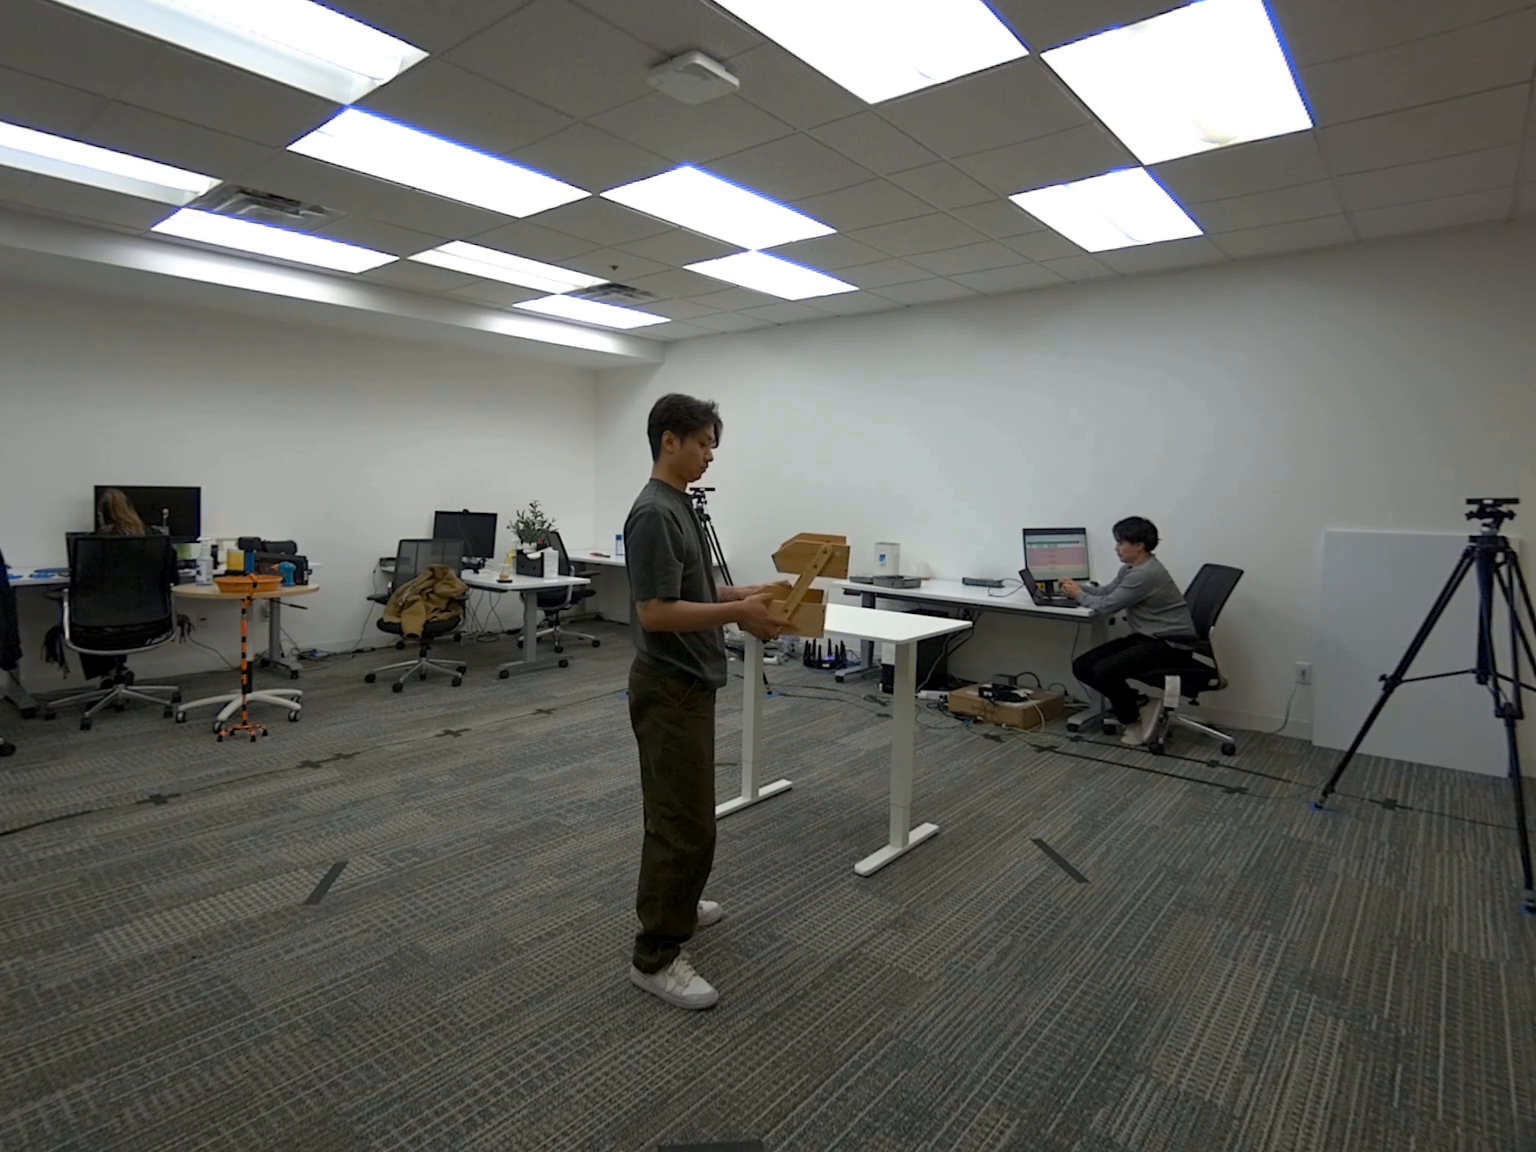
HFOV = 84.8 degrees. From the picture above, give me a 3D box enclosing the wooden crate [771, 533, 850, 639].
[{"bbox_3d":[0.068,0.013,2.442,0.304,0.272,0.324,5,7,6],"label":"wooden crate"}]
